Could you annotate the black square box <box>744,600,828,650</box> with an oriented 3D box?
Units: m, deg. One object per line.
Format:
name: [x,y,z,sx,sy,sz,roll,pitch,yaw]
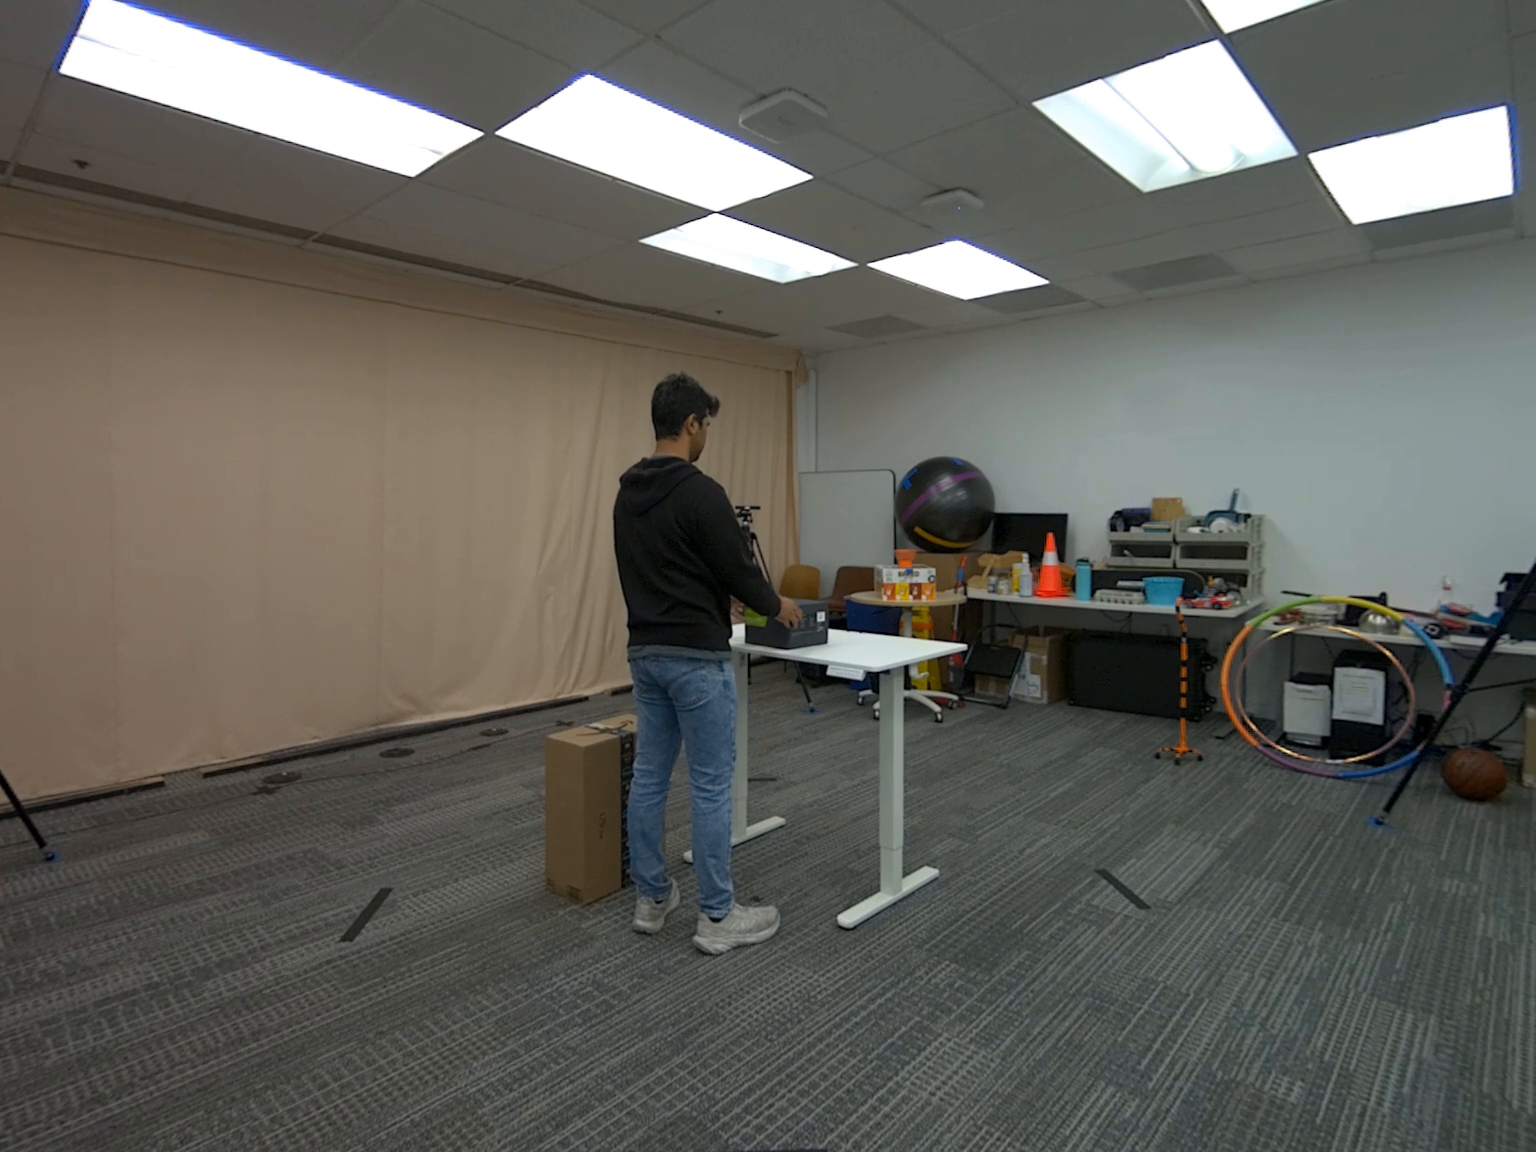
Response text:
black square box: [0.071,0.169,3.121,0.210,0.155,0.235,-4,5,-42]
